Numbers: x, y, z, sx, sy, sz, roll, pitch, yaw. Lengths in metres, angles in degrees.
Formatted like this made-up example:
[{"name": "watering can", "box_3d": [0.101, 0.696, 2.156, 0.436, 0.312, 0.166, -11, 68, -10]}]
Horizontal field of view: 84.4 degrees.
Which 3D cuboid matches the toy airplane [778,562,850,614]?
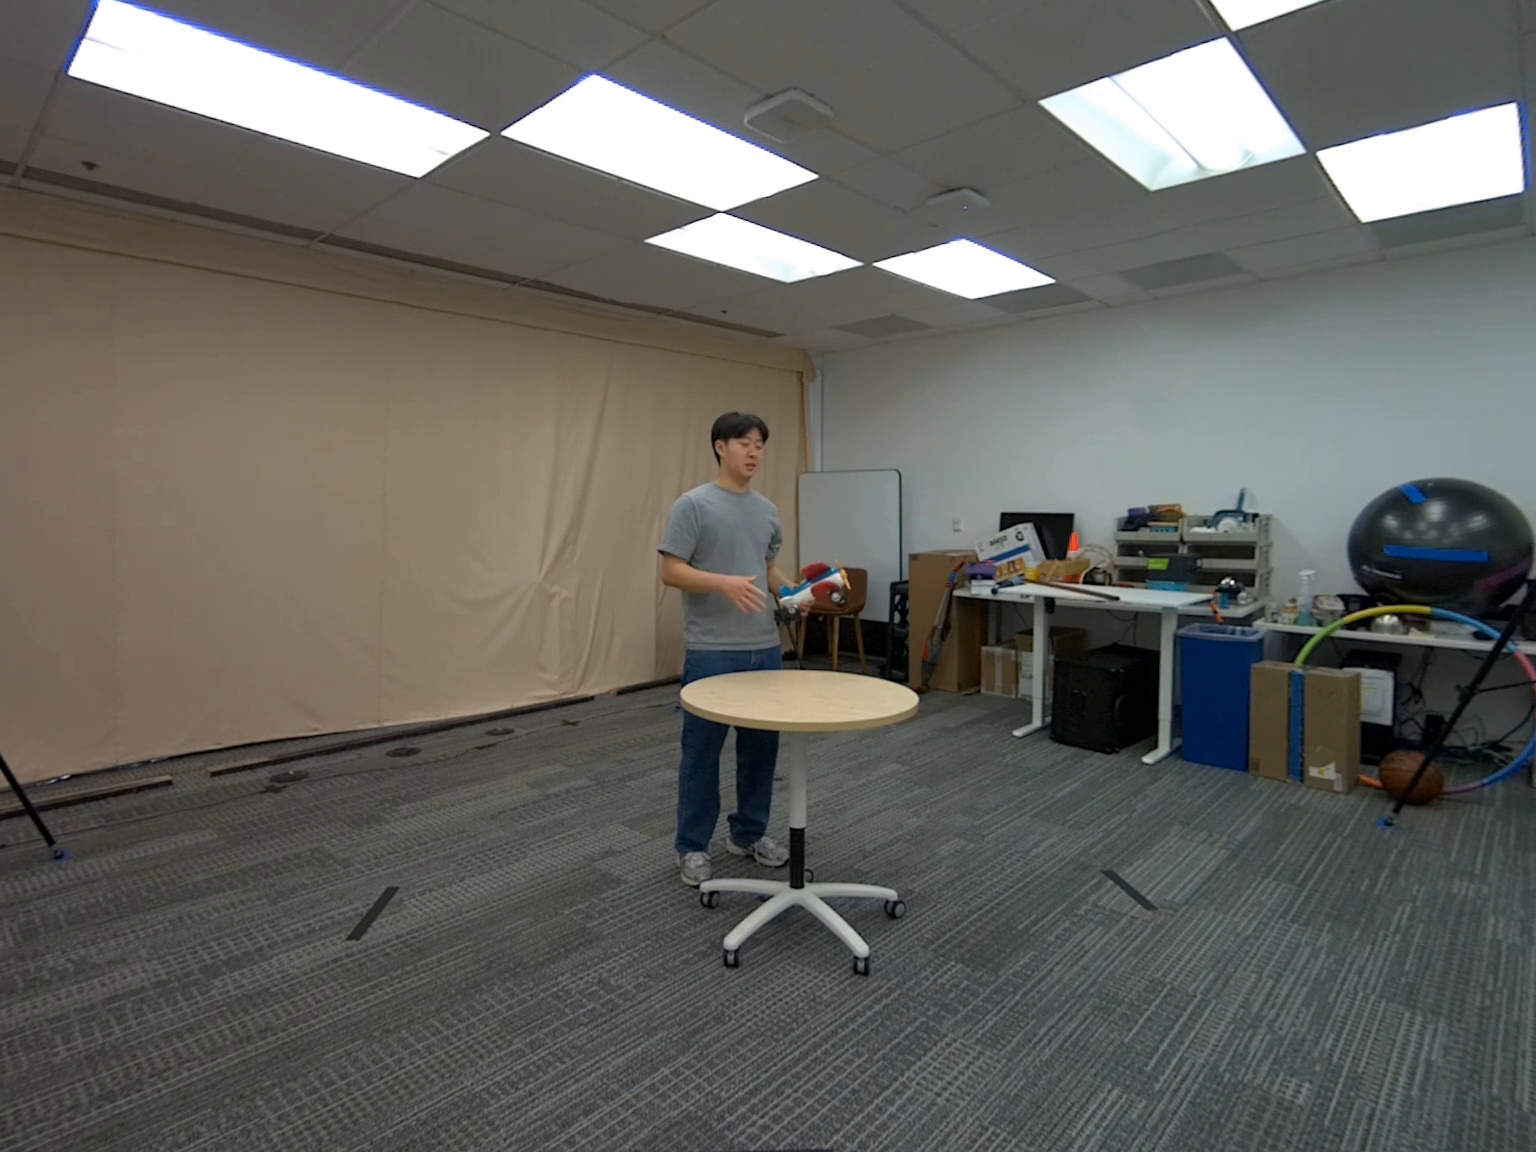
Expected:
[{"name": "toy airplane", "box_3d": [0.167, 0.037, 3.083, 0.257, 0.159, 0.249, -4, -20, -8]}]
